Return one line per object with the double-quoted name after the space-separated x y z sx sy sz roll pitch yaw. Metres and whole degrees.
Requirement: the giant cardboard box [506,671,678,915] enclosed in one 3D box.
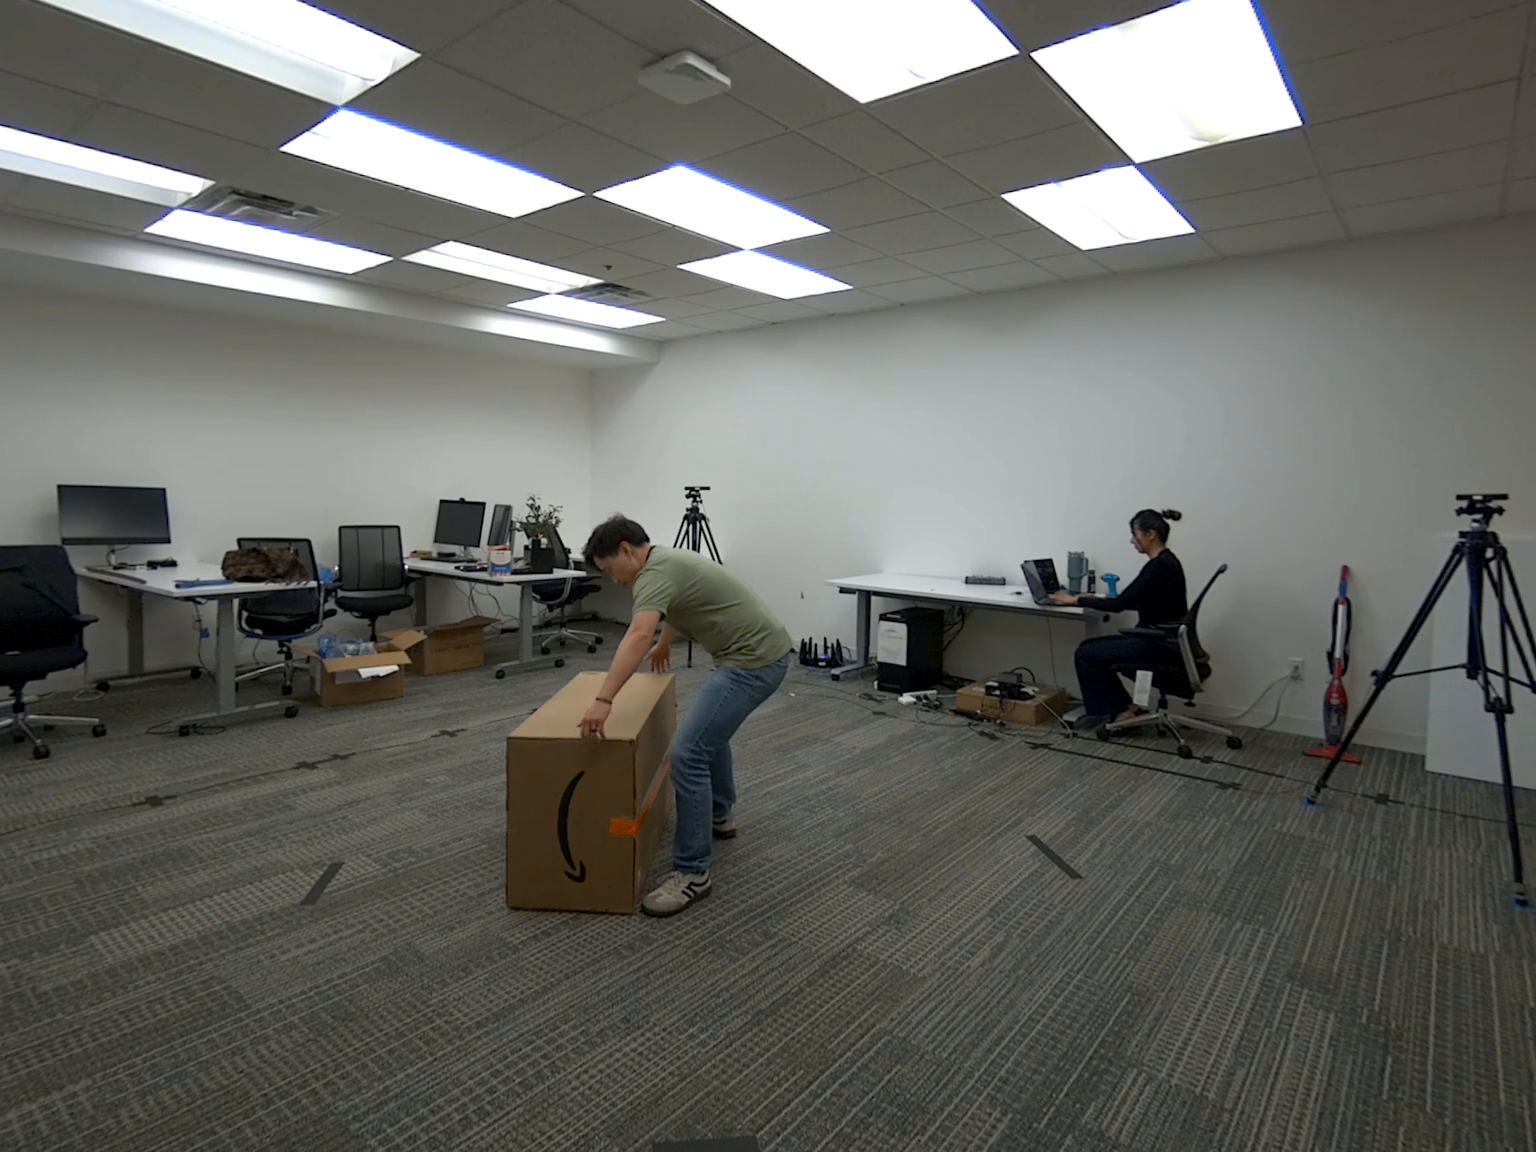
-0.646 0.754 3.256 0.427 0.575 1.026 1 5 1 "giant cardboard box"
